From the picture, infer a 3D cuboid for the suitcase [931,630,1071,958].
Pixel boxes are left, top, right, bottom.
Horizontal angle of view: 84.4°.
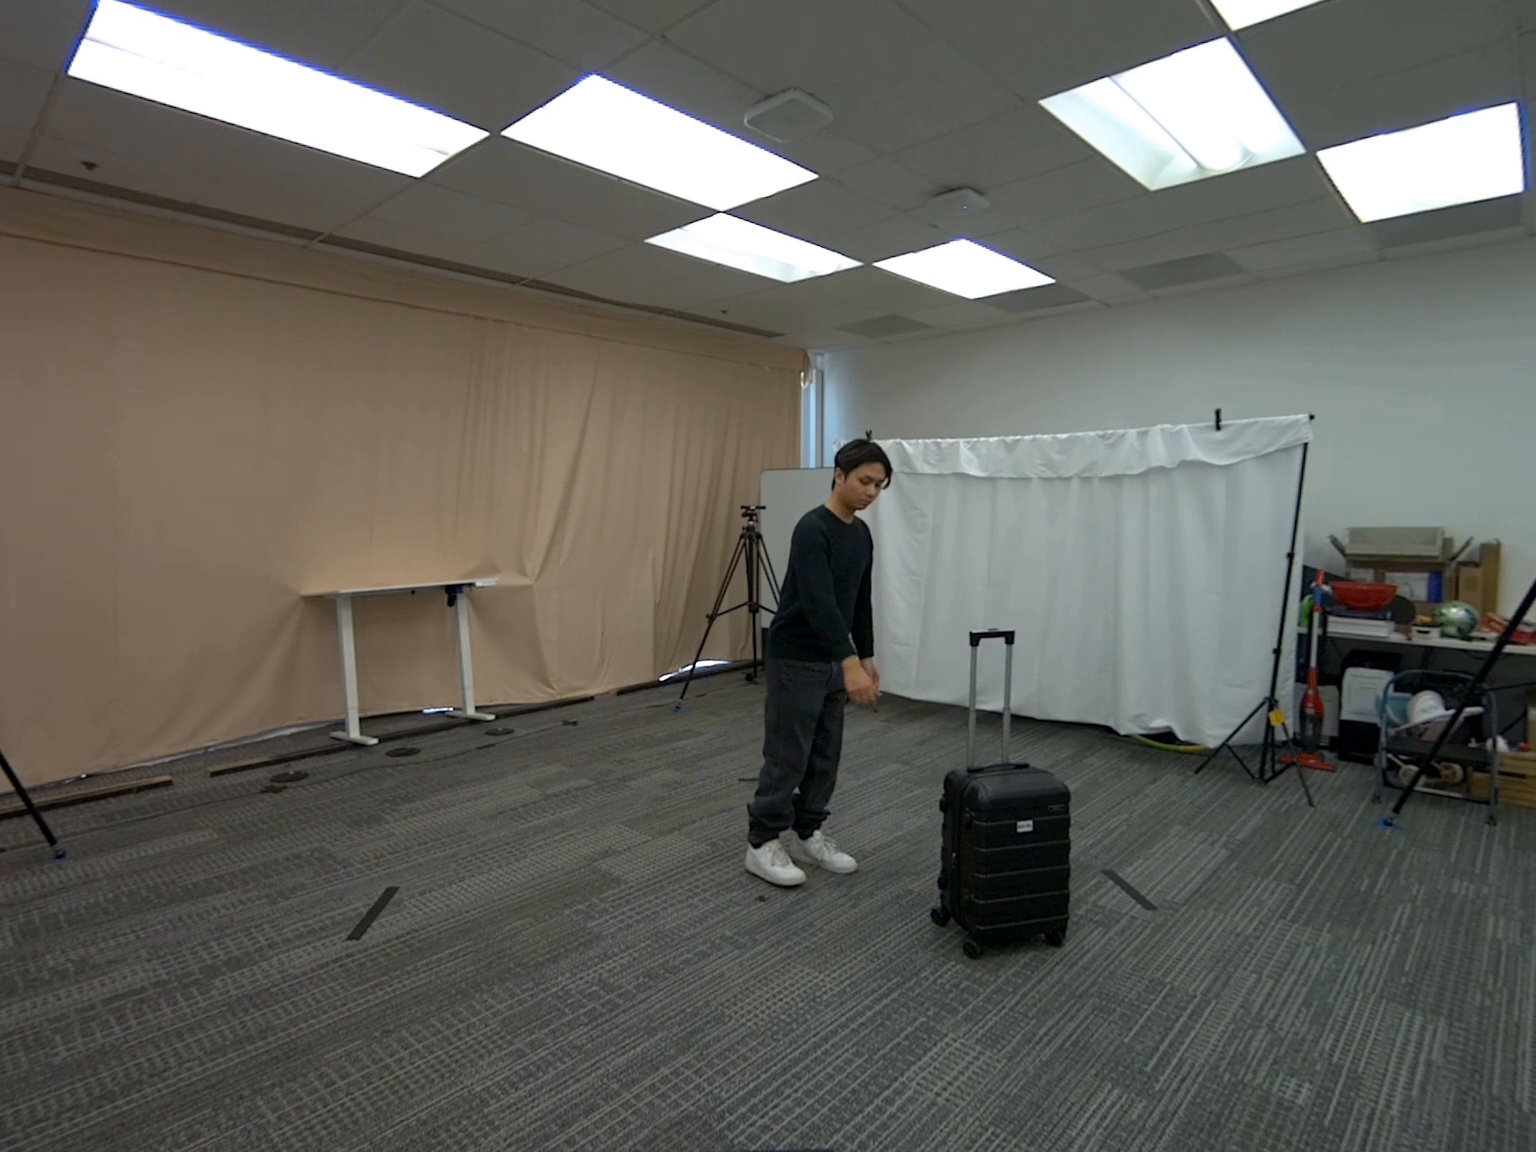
[{"bbox_3d":[0.774,0.692,2.688,0.378,0.975,0.262,0,6,-15],"label":"suitcase"}]
